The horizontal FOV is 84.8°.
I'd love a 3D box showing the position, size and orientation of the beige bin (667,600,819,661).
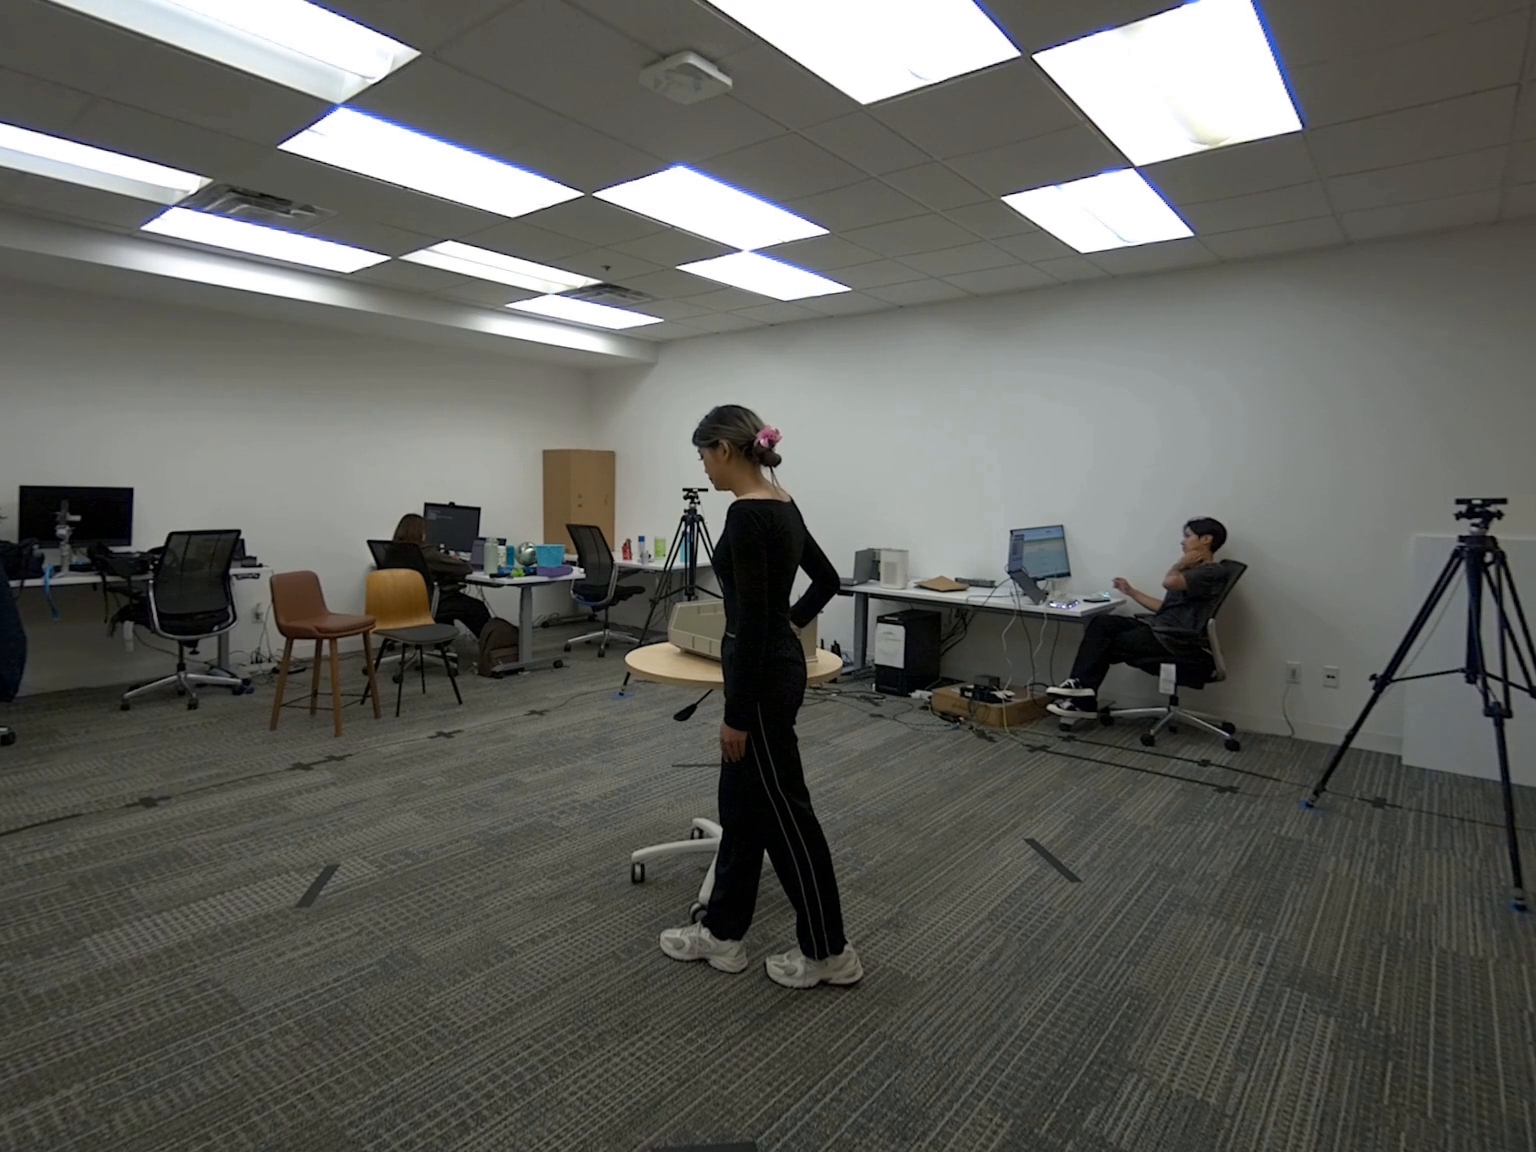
[{"bbox_3d":[-0.094,0.198,3.027,0.366,0.188,0.436,-3,5,-38],"label":"beige bin"}]
